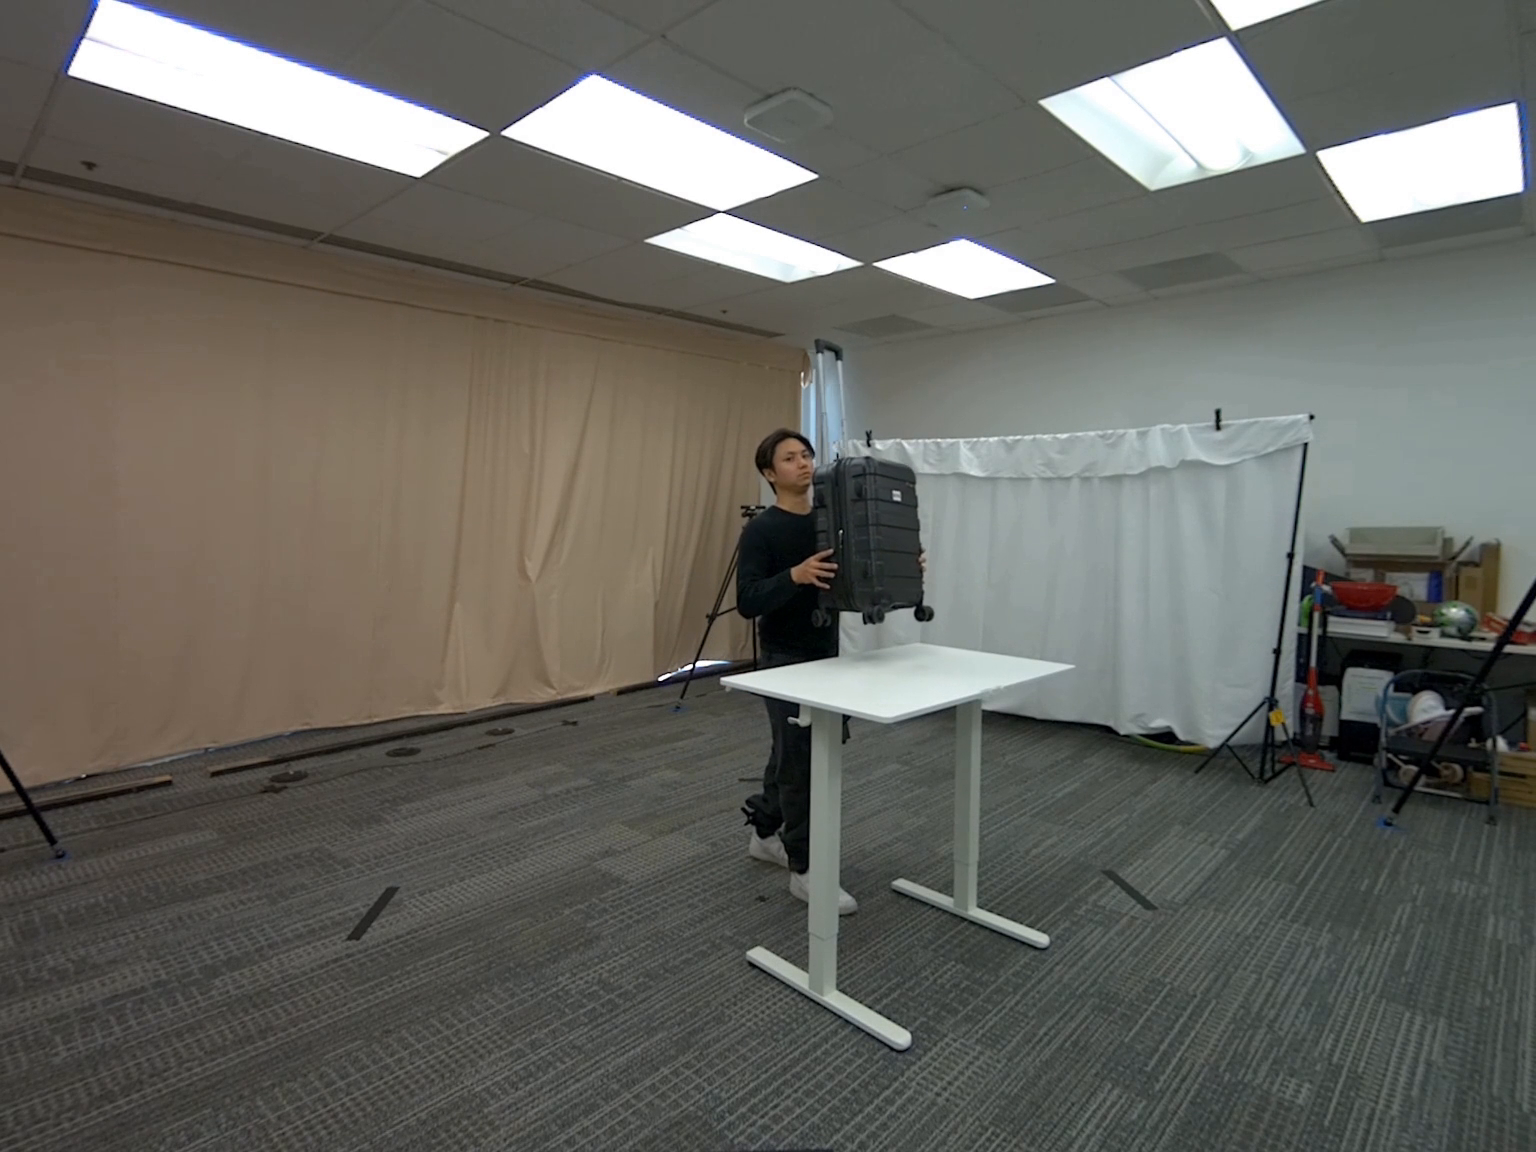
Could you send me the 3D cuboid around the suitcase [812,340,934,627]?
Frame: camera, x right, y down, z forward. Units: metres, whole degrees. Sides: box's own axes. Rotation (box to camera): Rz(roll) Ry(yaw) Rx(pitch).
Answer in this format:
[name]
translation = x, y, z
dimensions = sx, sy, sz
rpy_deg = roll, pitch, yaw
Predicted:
[suitcase]
translation = 0.335, -0.322, 2.827
dimensions = 0.265, 0.982, 0.371
rpy_deg = -6, -7, 39
